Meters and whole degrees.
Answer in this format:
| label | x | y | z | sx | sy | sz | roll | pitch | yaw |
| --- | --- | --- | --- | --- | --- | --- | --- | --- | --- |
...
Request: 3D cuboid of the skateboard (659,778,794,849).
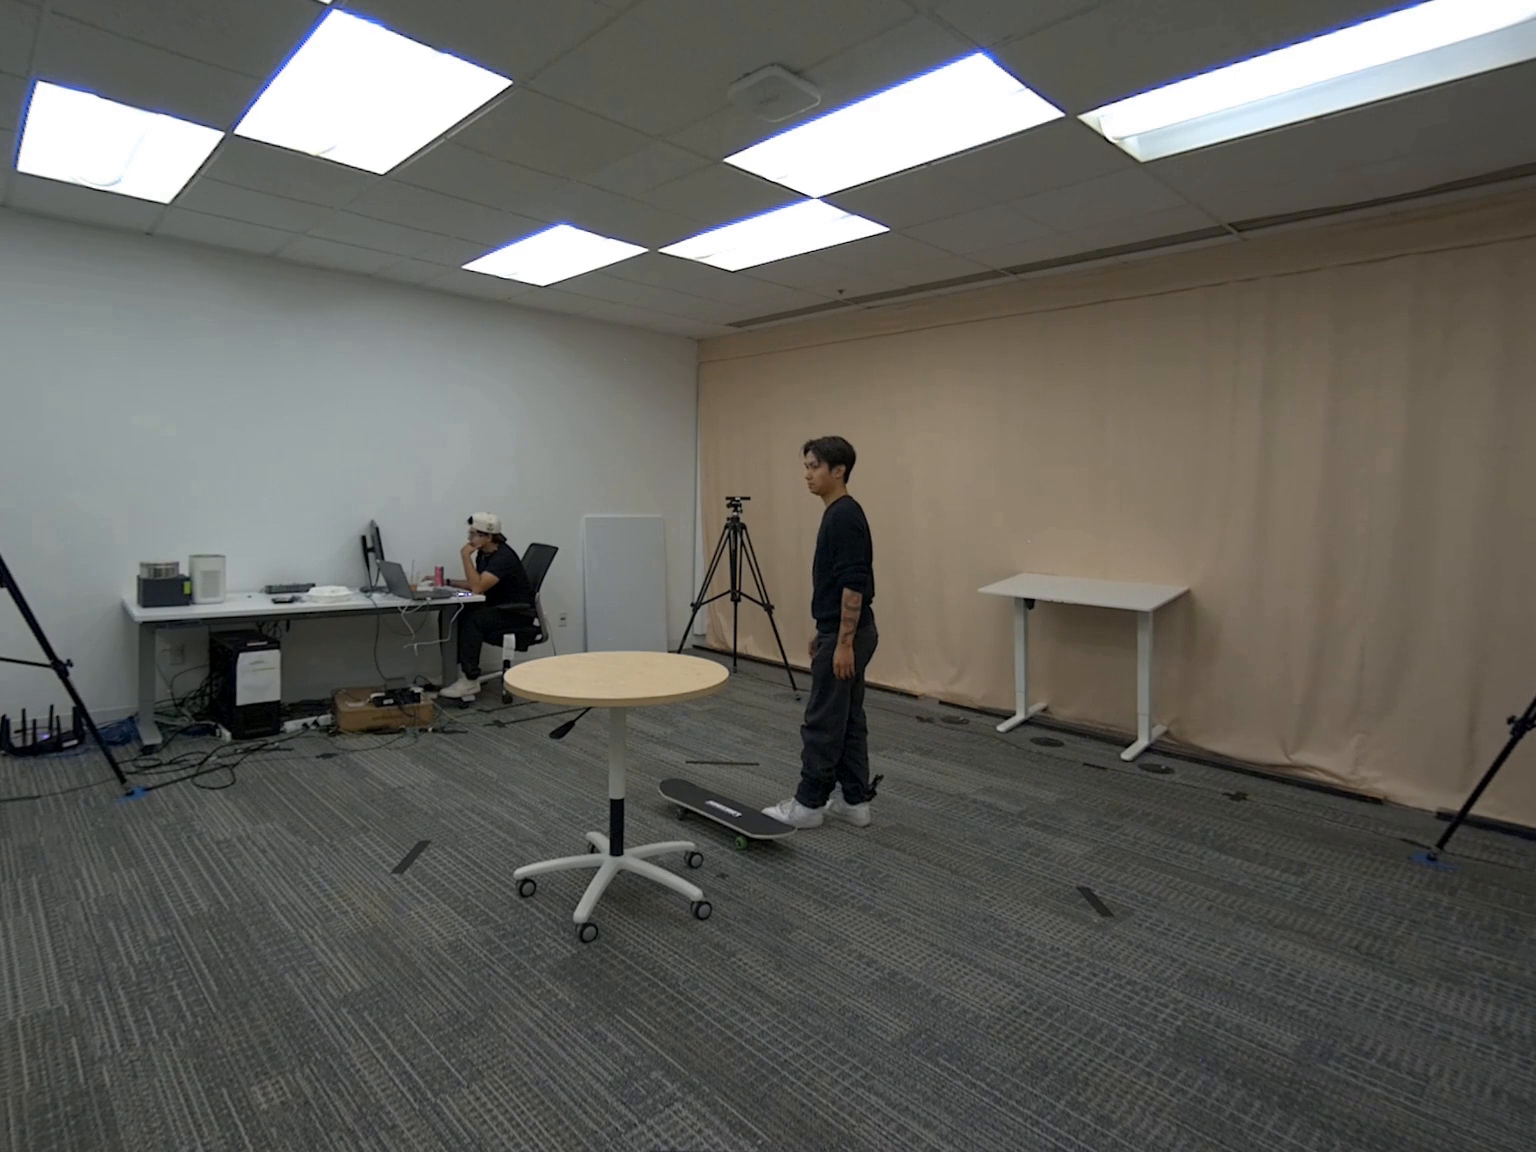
| label | x | y | z | sx | sy | sz | roll | pitch | yaw |
| --- | --- | --- | --- | --- | --- | --- | --- | --- | --- |
| skateboard | -0.197 | 1.013 | 3.550 | 0.189 | 0.110 | 0.806 | -2 | 6 | -43 |
